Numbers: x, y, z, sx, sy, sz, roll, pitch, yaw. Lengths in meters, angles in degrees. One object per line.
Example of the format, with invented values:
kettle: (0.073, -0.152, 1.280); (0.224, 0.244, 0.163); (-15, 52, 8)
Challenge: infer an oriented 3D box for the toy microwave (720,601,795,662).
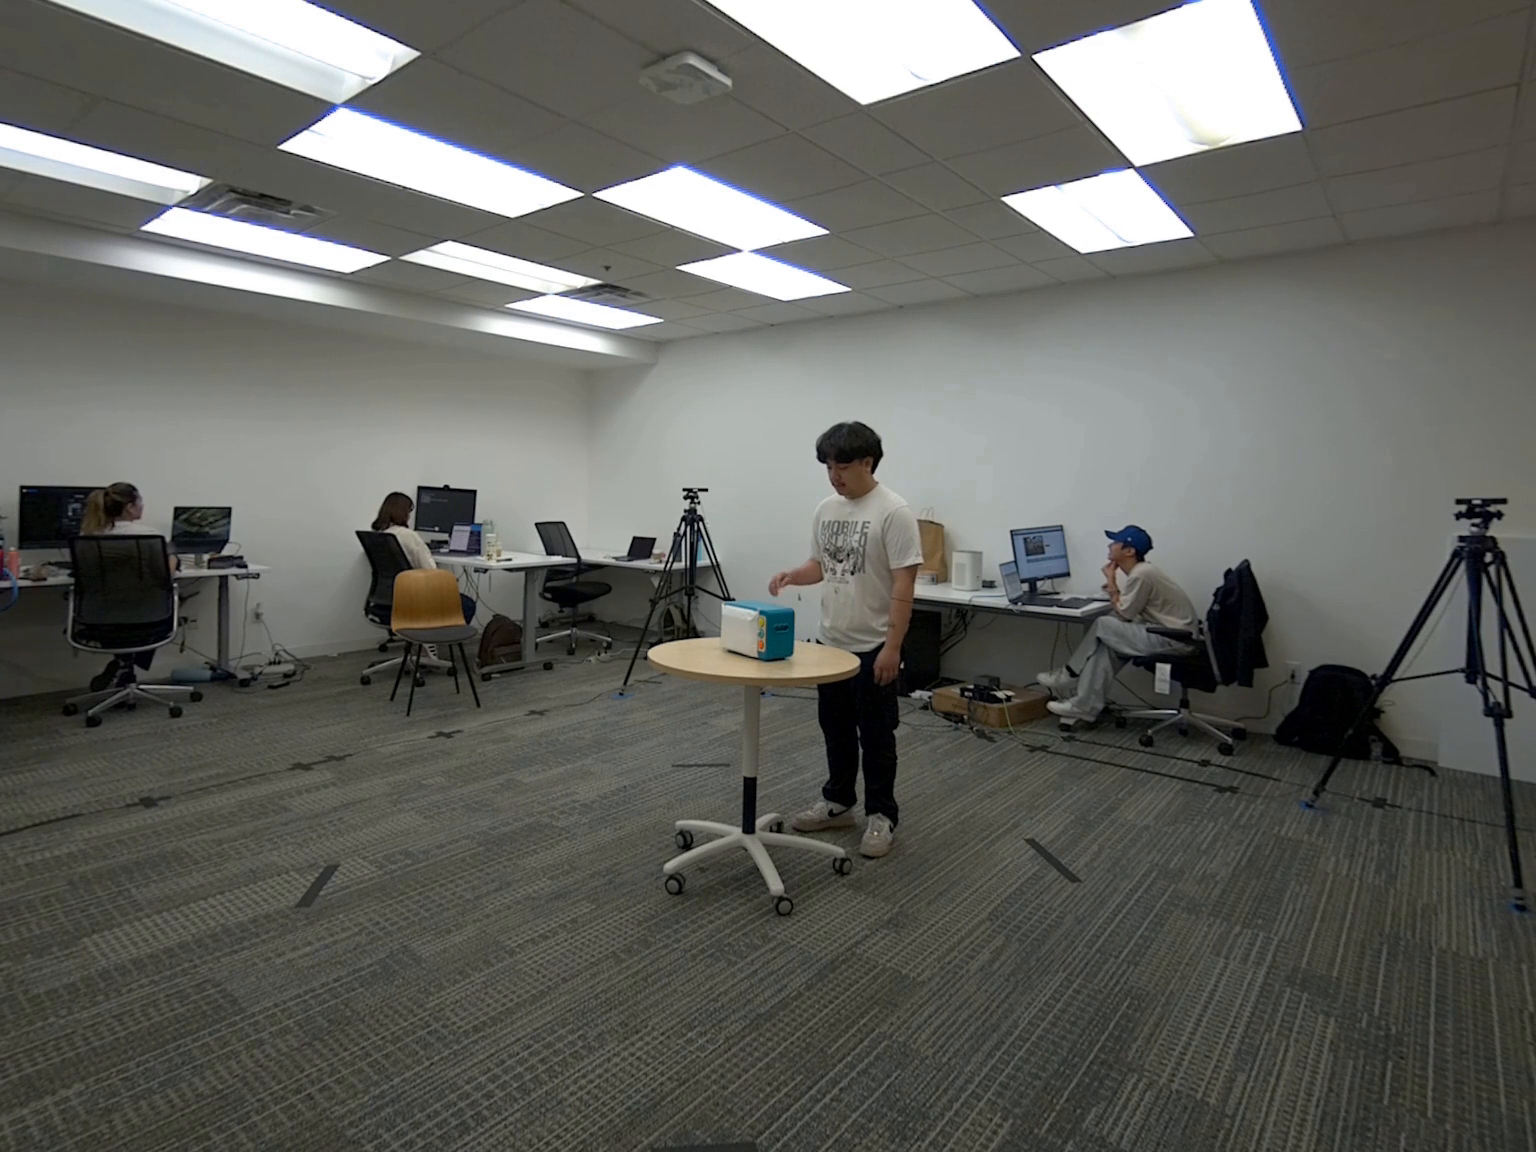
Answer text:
toy microwave: (-0.053, 0.190, 3.081); (0.148, 0.183, 0.296); (-1, 6, -38)
